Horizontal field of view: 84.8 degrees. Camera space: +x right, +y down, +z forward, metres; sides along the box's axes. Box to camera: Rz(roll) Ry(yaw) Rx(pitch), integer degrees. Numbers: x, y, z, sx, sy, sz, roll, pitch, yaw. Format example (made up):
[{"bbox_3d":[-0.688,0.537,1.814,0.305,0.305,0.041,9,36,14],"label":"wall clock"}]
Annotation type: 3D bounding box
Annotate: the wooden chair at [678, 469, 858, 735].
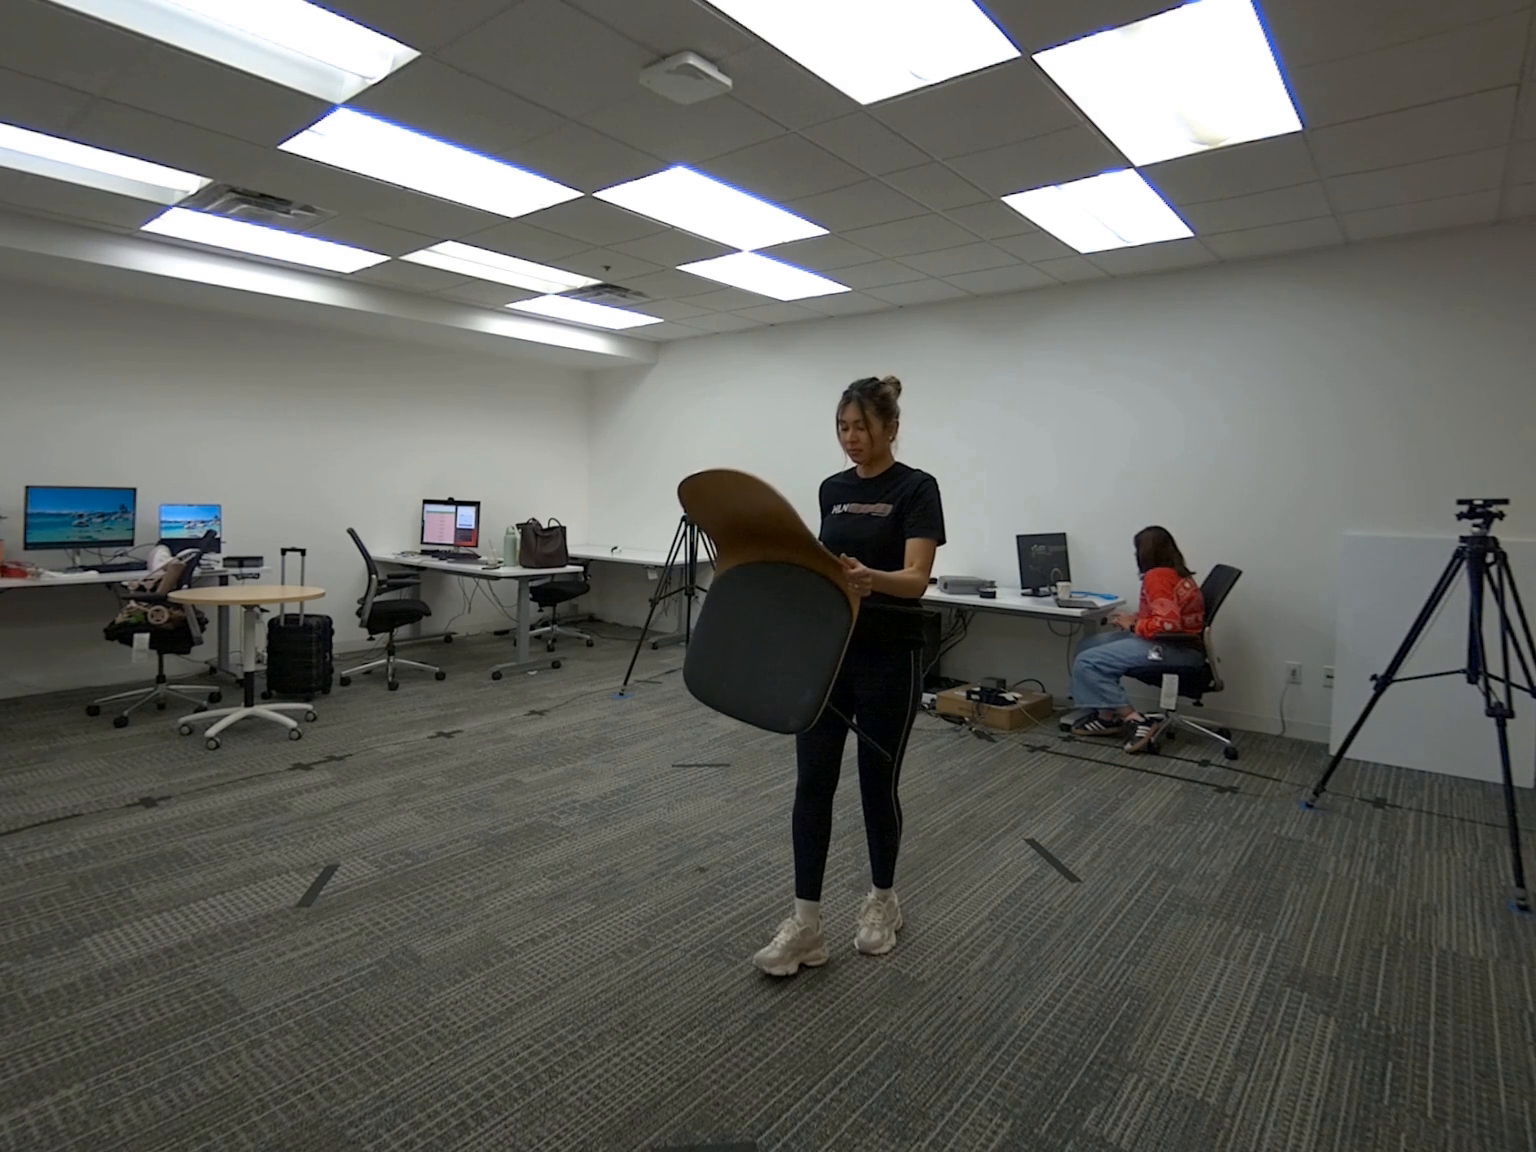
[{"bbox_3d":[0.011,0.149,2.295,0.495,0.526,0.841,14,-16,36],"label":"wooden chair"}]
